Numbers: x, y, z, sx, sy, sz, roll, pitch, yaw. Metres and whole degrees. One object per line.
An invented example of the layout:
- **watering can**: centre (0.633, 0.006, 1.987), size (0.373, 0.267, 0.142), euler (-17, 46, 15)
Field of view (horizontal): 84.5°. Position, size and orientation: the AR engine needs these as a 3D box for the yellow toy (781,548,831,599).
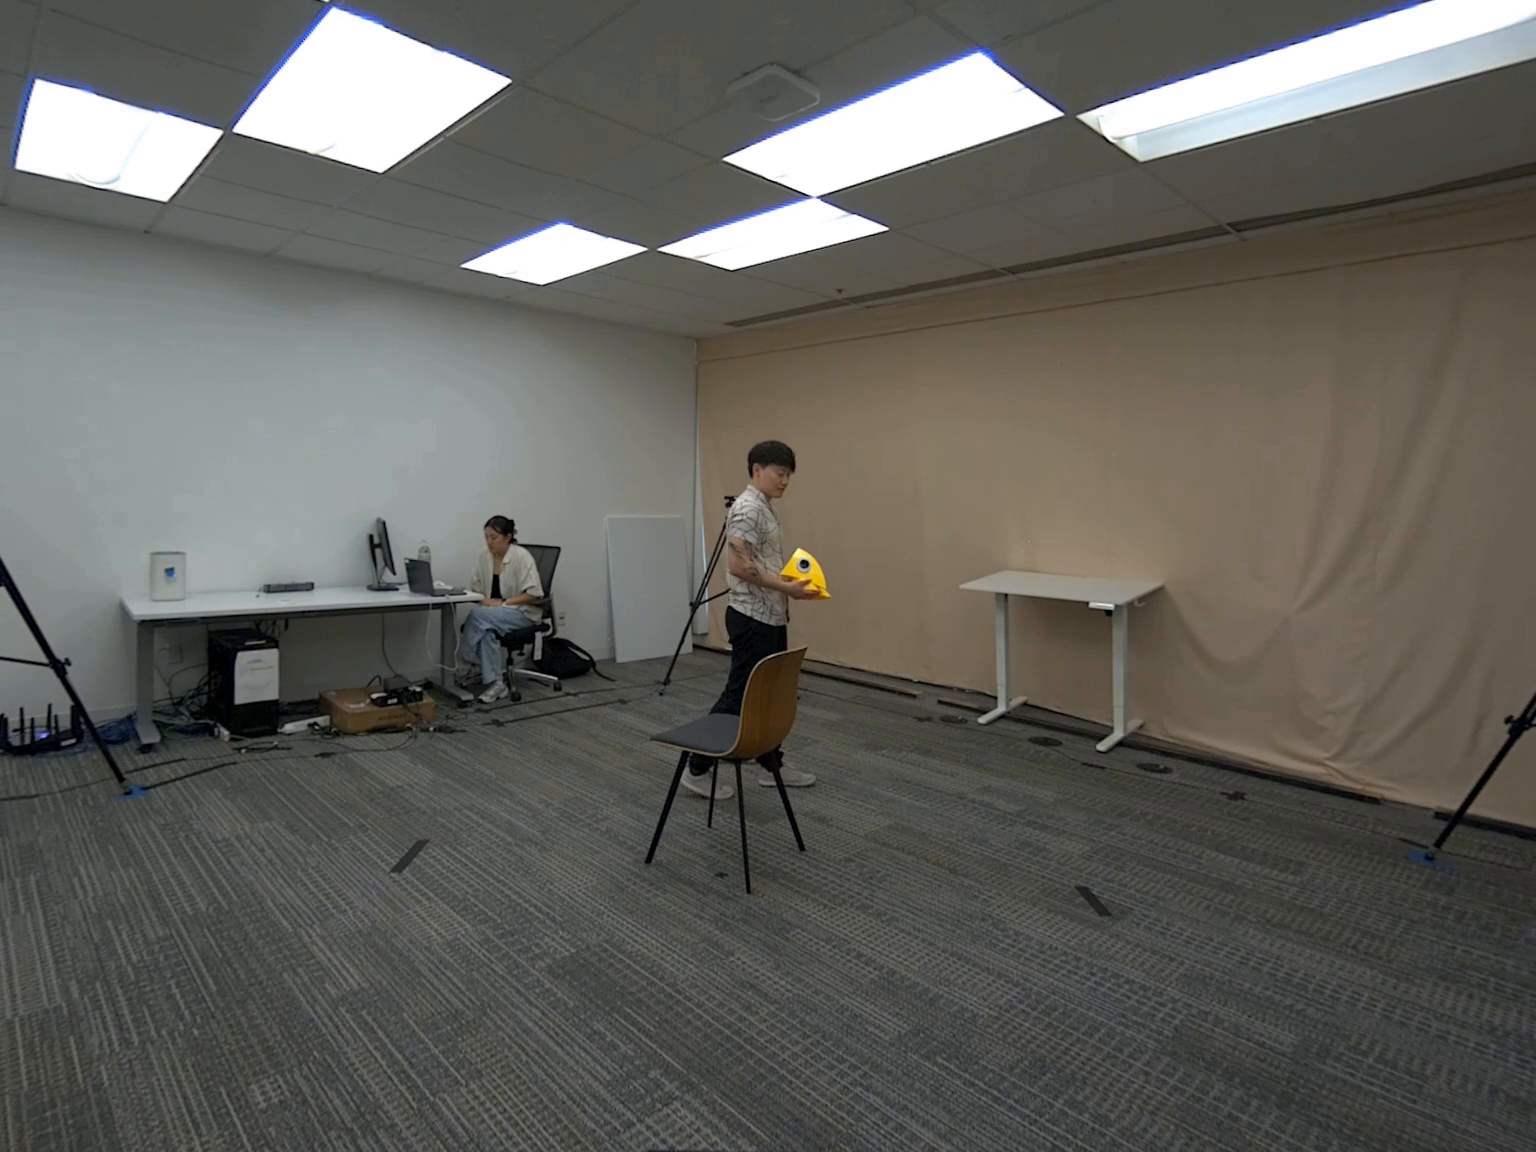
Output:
- **yellow toy**: centre (0.172, -0.021, 3.905), size (0.197, 0.233, 0.198), euler (-5, -19, 32)
